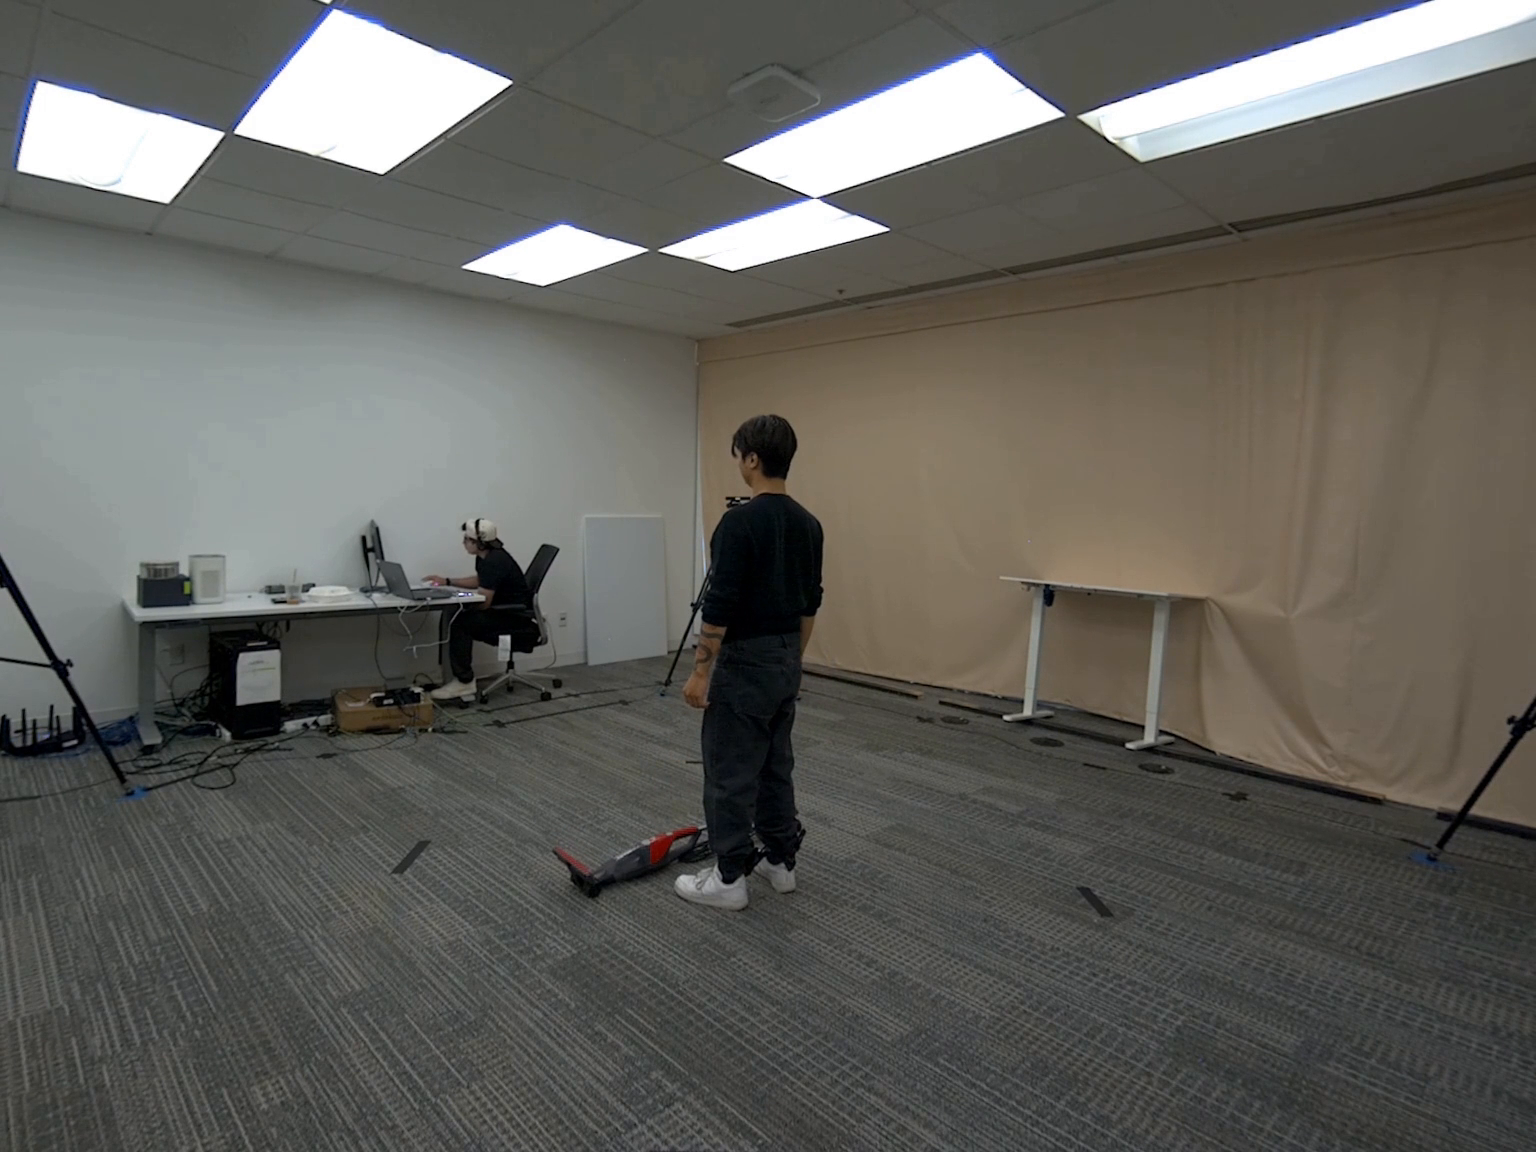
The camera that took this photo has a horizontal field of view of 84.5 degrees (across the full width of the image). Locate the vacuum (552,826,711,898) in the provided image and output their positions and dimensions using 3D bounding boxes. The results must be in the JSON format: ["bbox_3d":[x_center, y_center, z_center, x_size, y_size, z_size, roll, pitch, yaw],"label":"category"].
[{"bbox_3d":[-0.283,1.023,3.270,1.025,0.143,0.259,-2,9,-40],"label":"vacuum"}]
